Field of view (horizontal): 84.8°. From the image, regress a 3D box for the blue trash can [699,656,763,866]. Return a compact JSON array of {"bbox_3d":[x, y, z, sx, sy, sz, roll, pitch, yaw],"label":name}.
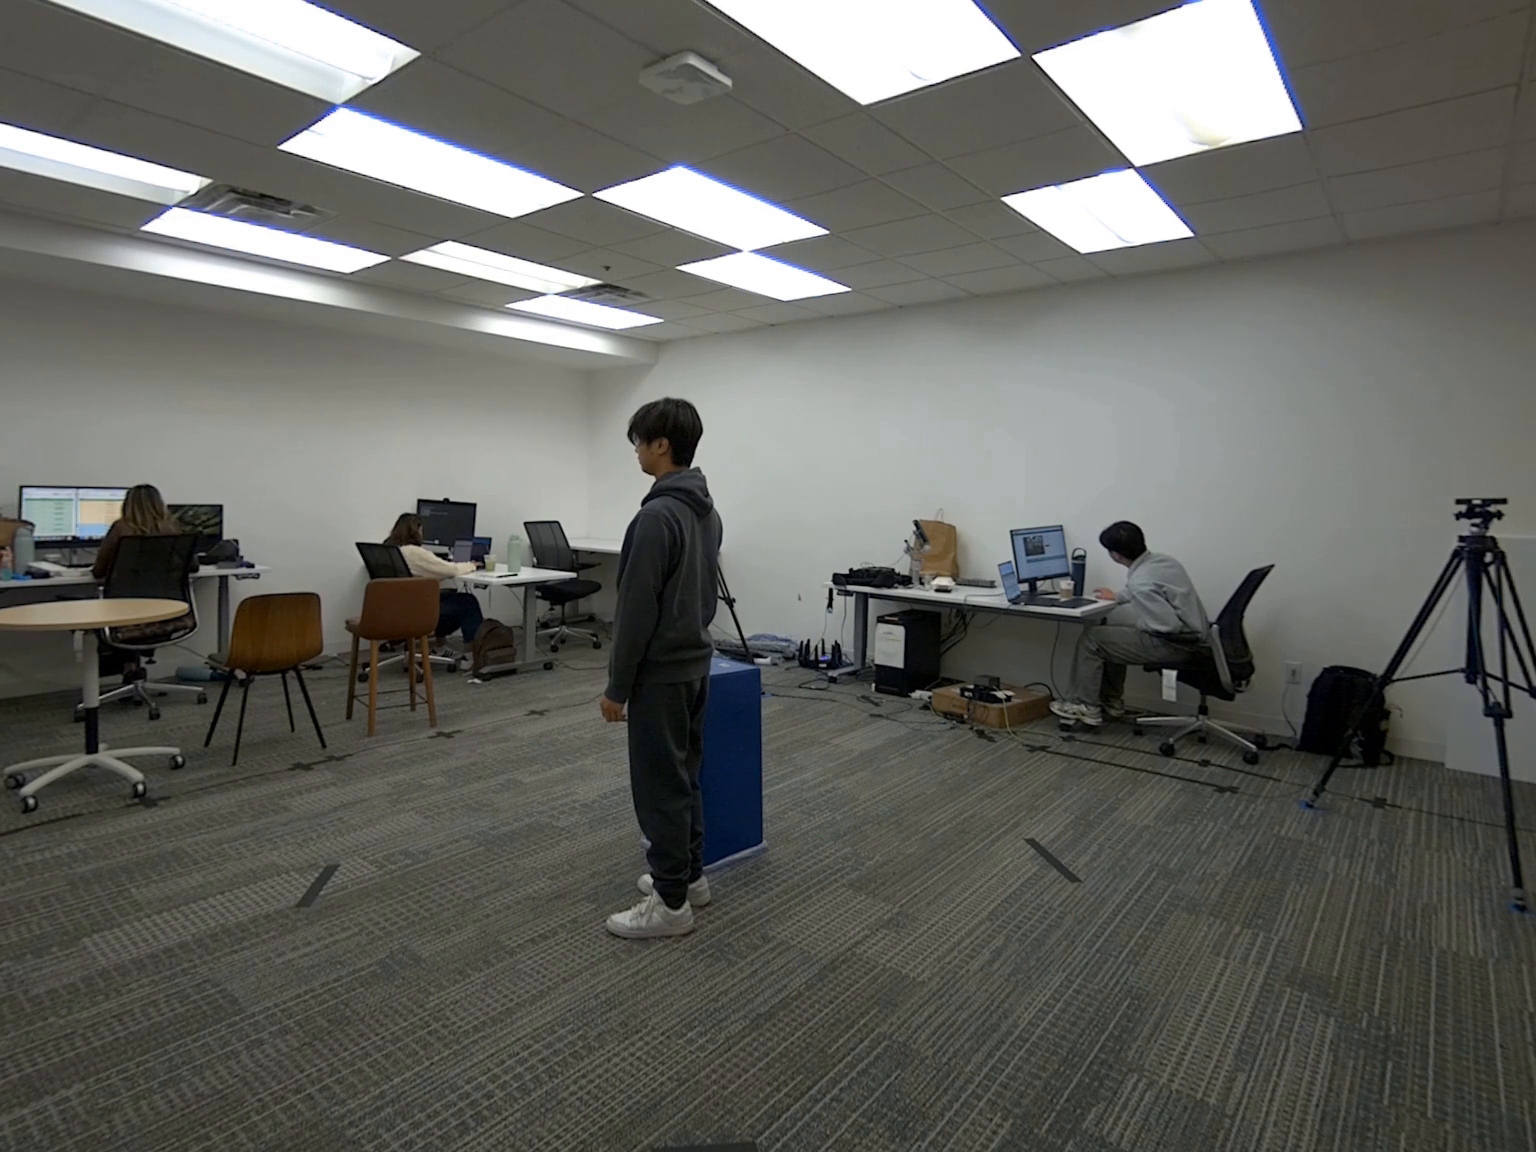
[{"bbox_3d":[-0.243,0.695,3.299,0.362,0.712,0.391,-1,4,-44],"label":"blue trash can"}]
